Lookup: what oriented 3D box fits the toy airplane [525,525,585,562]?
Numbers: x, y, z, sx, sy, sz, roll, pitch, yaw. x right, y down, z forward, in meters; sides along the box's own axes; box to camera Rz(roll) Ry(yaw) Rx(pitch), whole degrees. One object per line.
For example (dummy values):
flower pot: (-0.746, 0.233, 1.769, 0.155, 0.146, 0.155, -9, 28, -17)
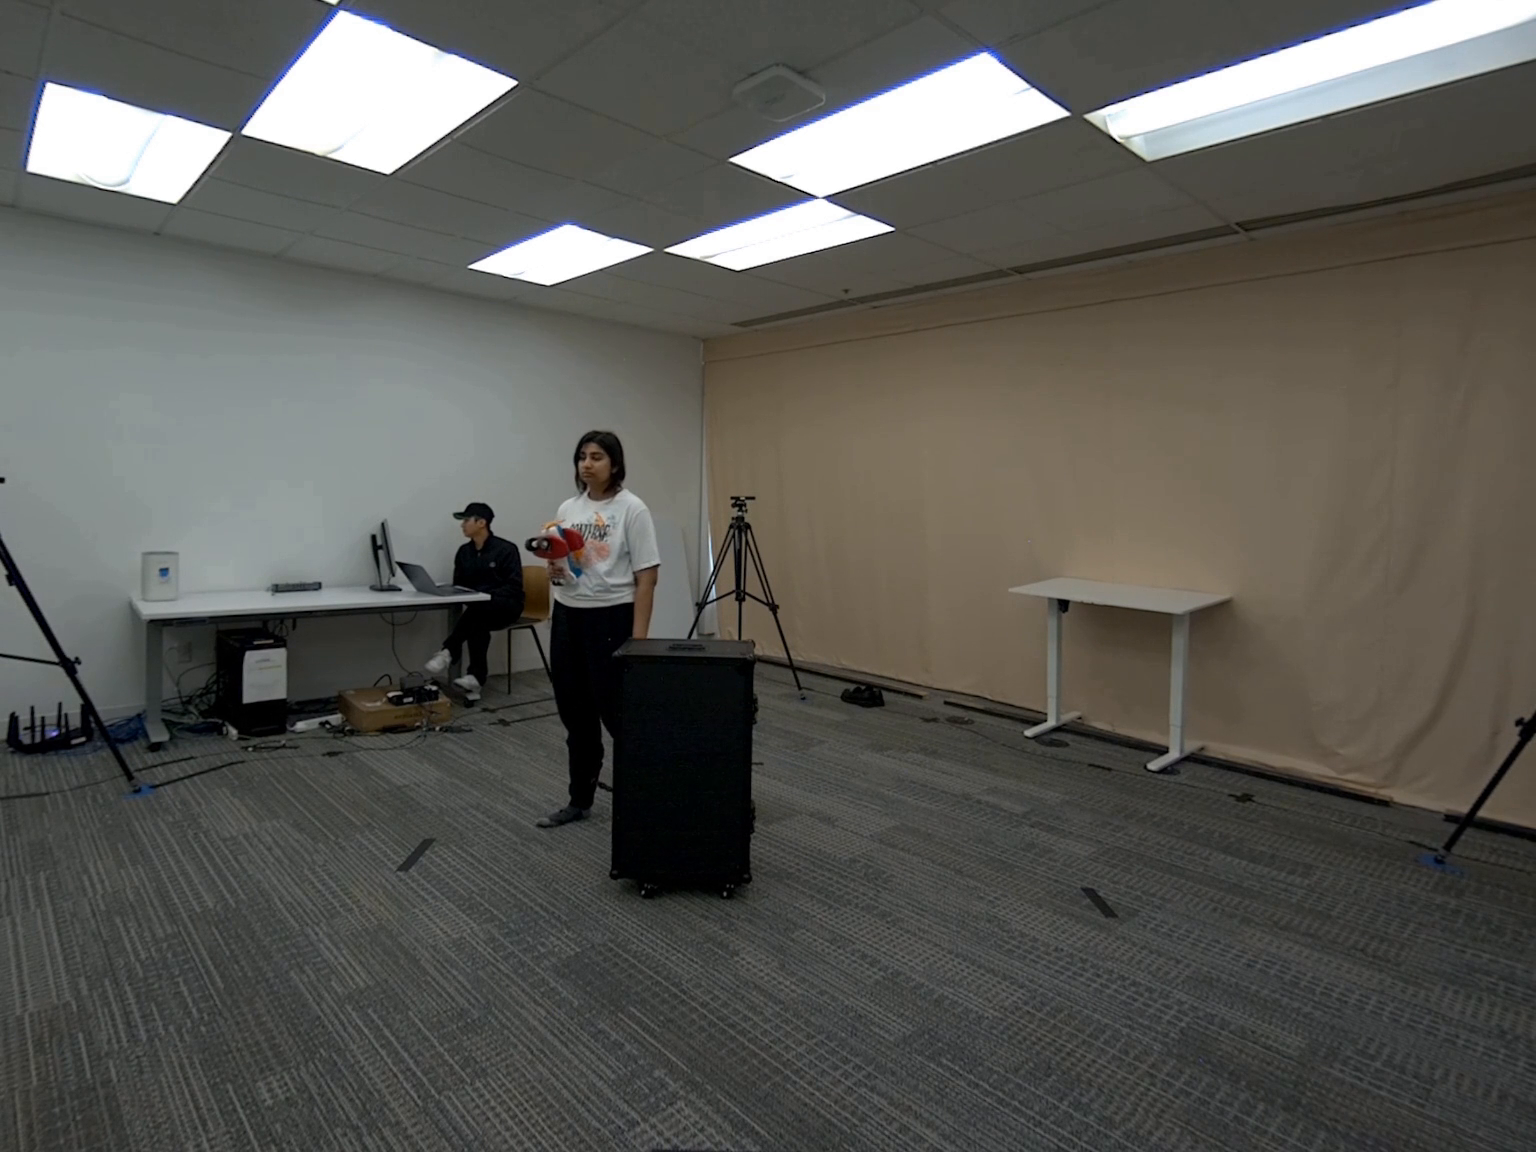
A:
toy airplane: (-0.877, -0.092, 3.366, 0.256, 0.254, 0.156, 24, 48, 21)
